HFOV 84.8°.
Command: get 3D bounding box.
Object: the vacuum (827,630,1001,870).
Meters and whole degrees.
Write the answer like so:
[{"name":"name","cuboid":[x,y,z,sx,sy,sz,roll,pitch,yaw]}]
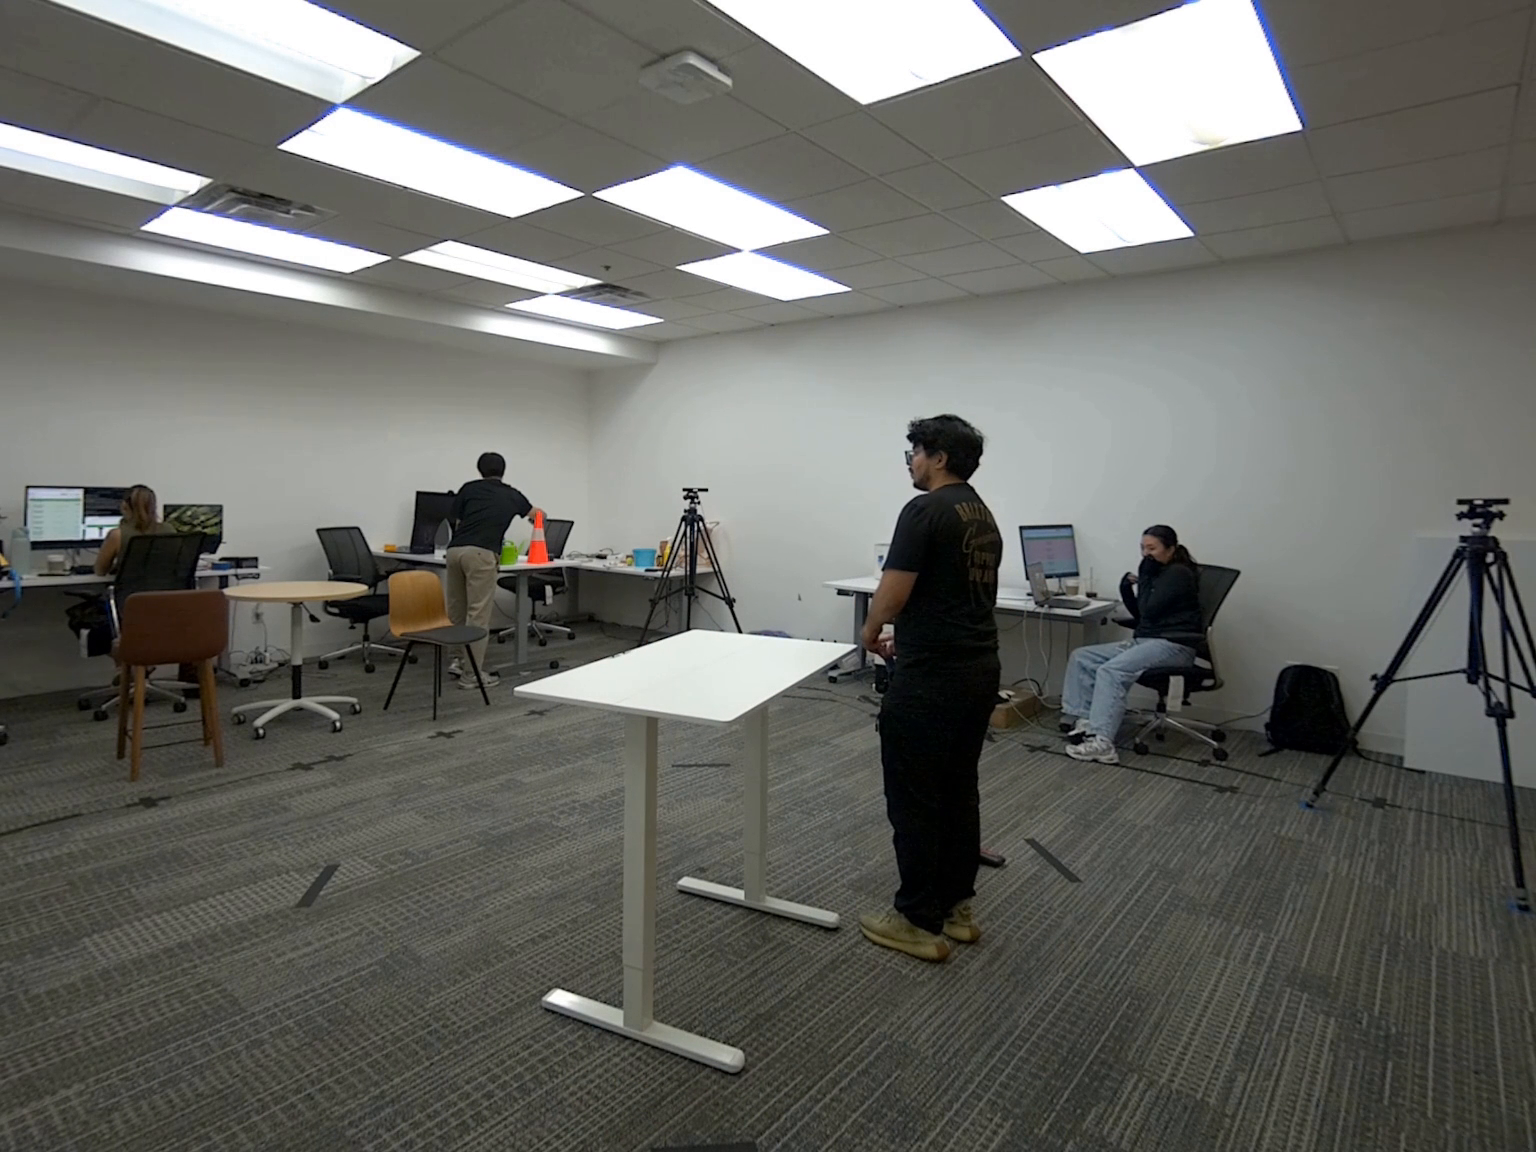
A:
[{"name":"vacuum","cuboid":[0.546,0.644,3.055,0.260,1.018,0.144,-4,33,40]}]
